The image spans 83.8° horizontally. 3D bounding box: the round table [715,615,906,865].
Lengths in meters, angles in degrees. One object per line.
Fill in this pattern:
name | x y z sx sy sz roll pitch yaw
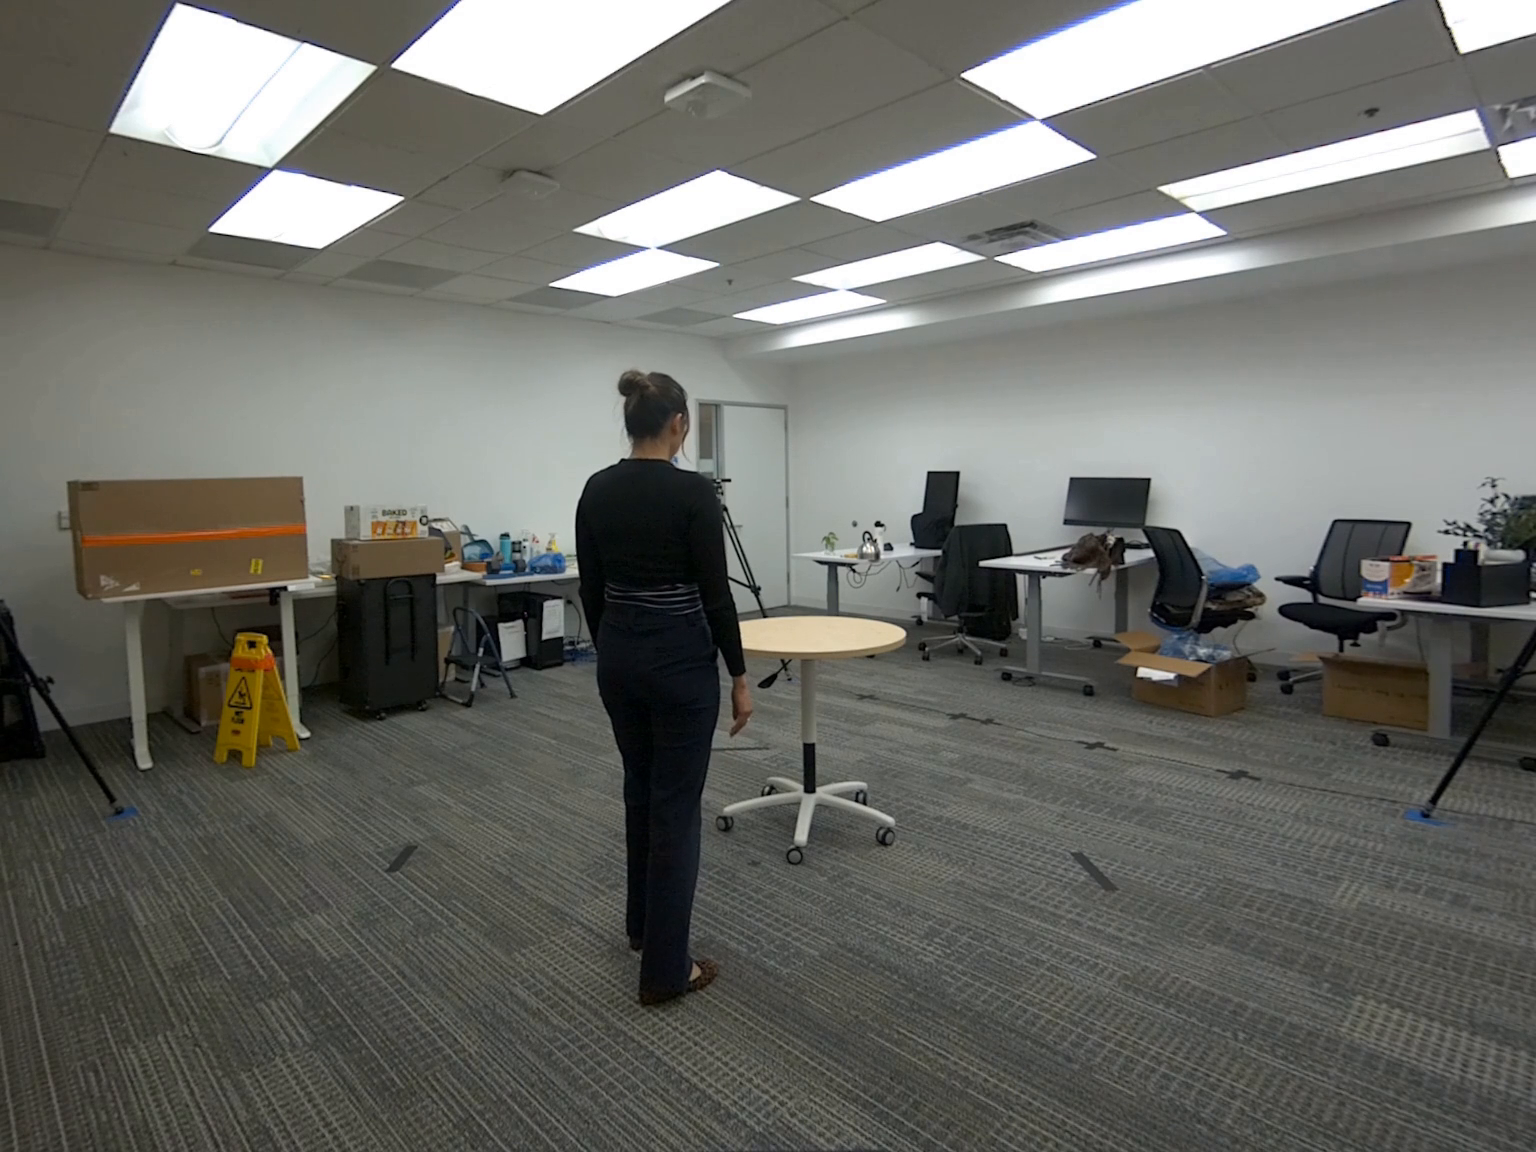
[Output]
round table | 0.165 0.617 3.410 0.763 0.791 0.768 -1 5 -2
